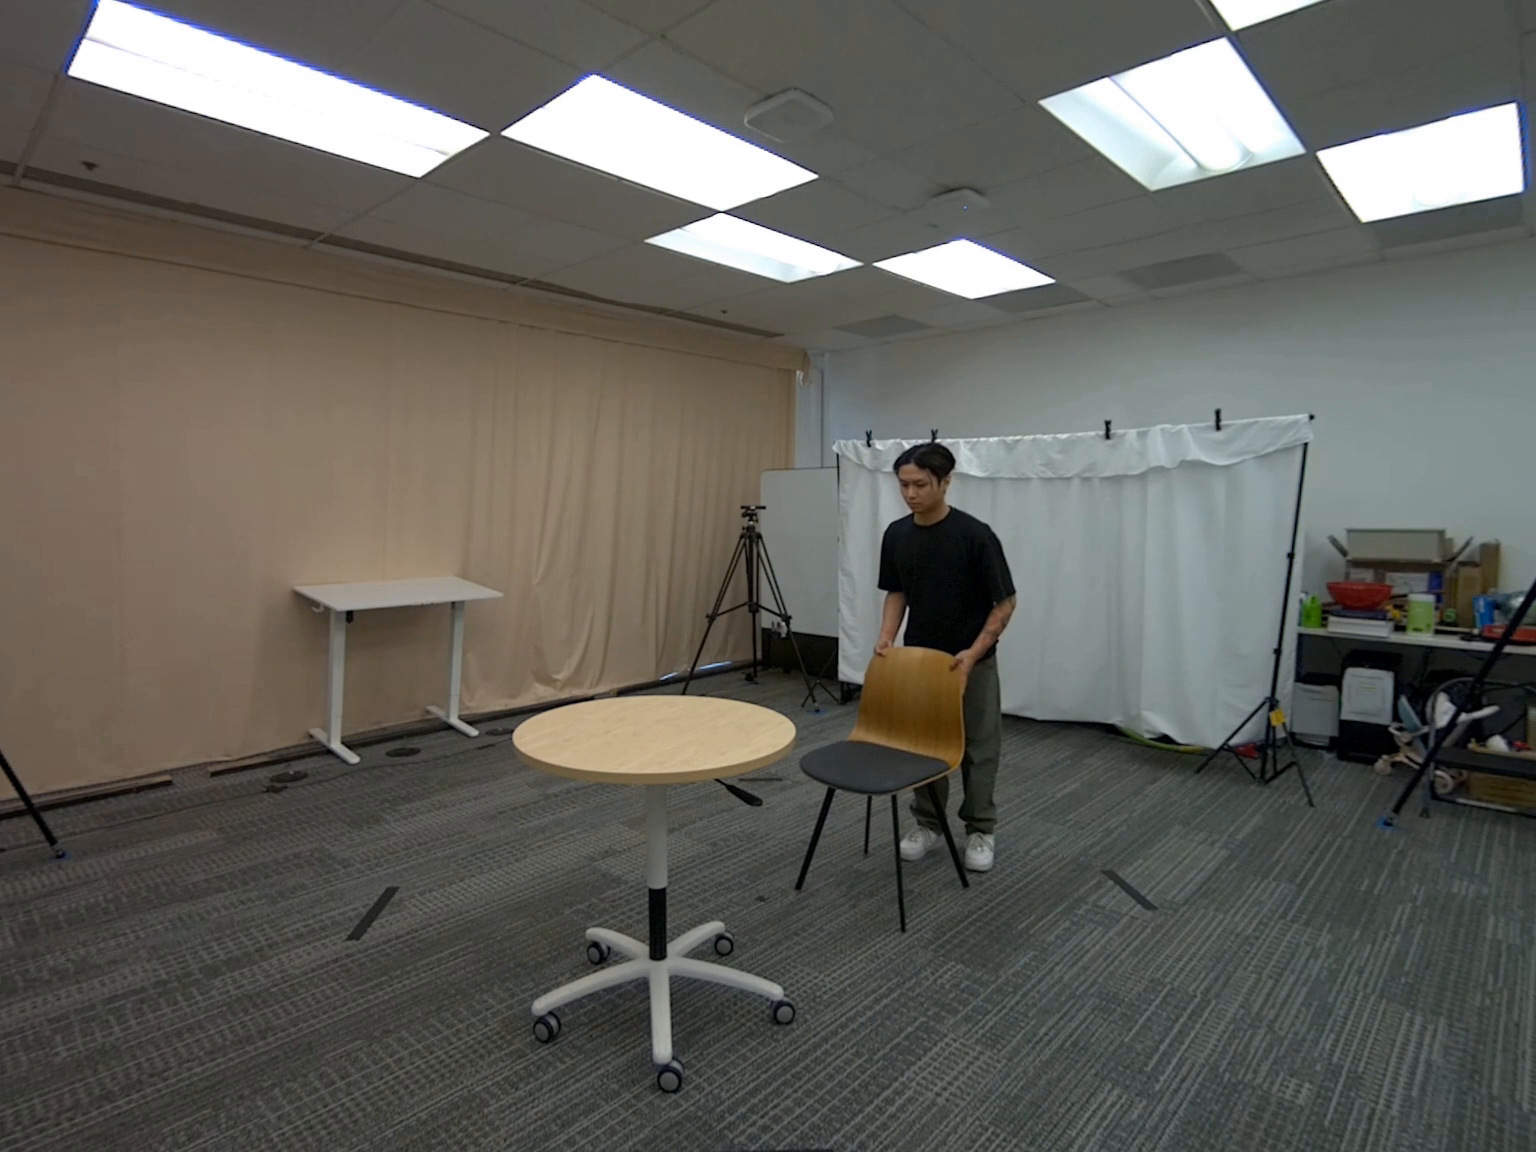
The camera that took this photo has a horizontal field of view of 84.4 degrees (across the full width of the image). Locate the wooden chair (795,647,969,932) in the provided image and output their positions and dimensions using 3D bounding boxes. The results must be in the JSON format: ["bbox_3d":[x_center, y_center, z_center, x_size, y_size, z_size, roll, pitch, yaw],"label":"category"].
[{"bbox_3d":[0.411,0.708,3.019,0.494,0.877,0.506,4,0,42],"label":"wooden chair"}]
